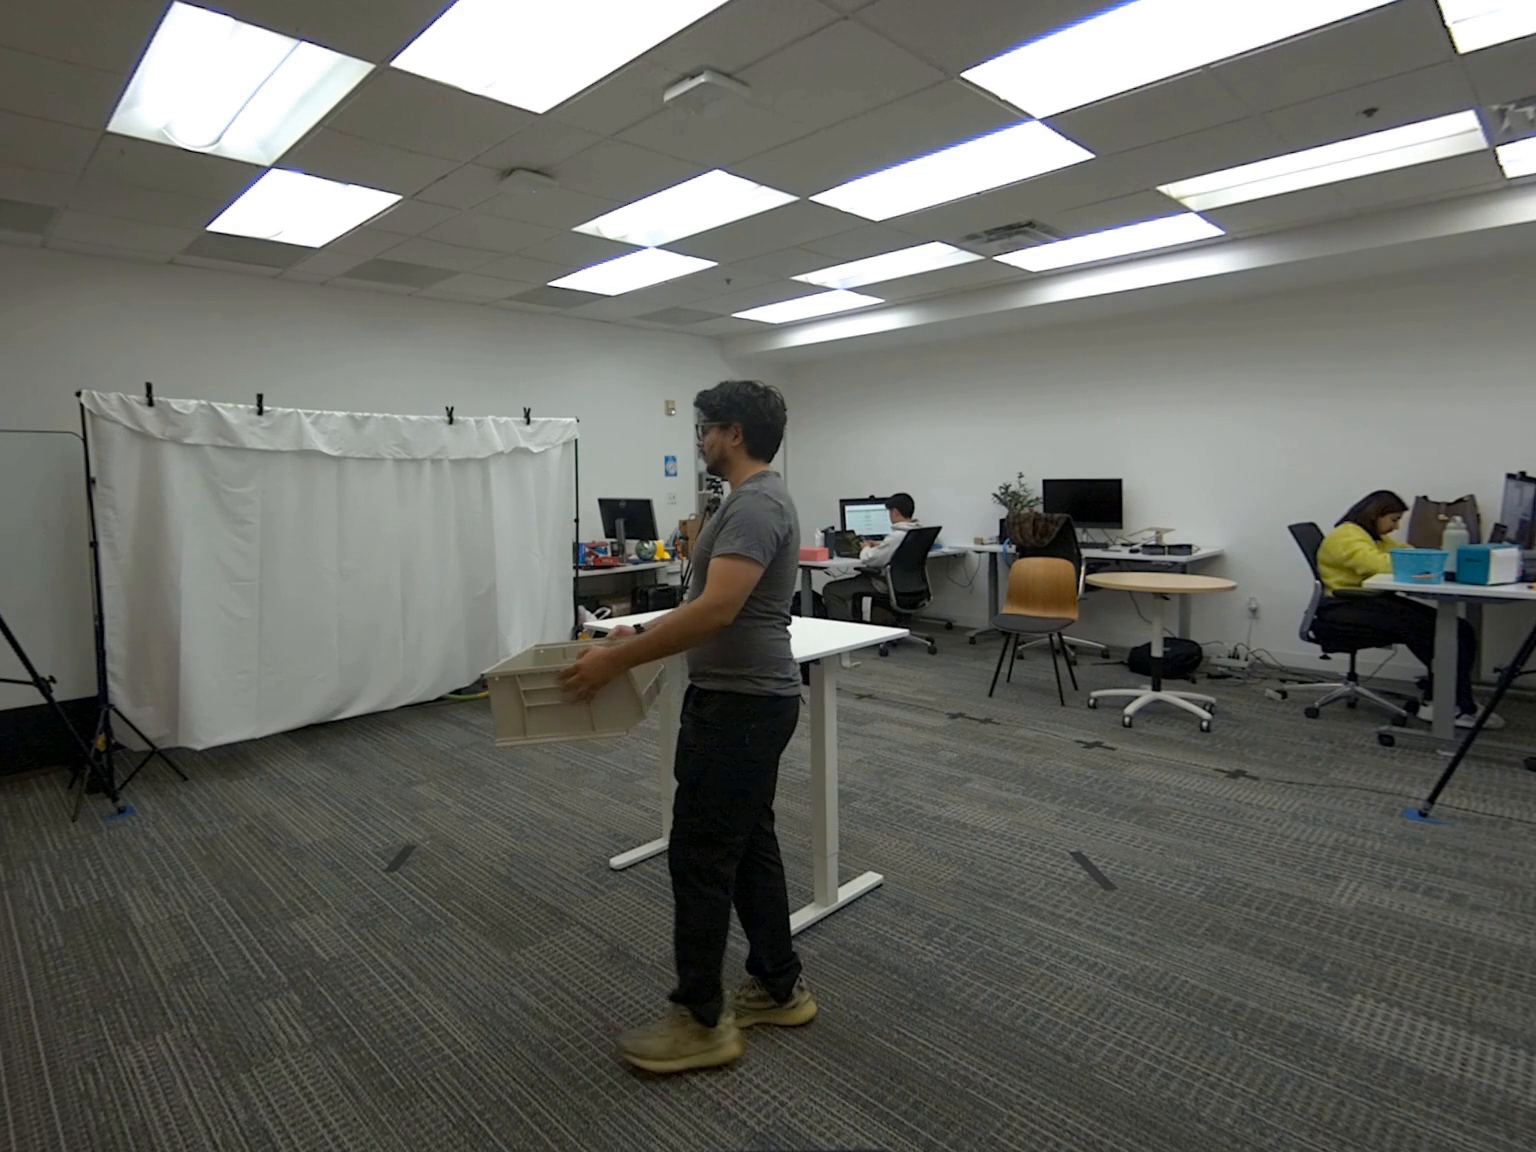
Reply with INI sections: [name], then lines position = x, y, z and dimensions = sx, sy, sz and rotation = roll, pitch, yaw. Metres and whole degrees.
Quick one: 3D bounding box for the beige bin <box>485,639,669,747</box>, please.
[beige bin]
position = -0.466, 0.275, 2.185
dimensions = 0.378, 0.188, 0.423
rotation = -7, 6, 2
